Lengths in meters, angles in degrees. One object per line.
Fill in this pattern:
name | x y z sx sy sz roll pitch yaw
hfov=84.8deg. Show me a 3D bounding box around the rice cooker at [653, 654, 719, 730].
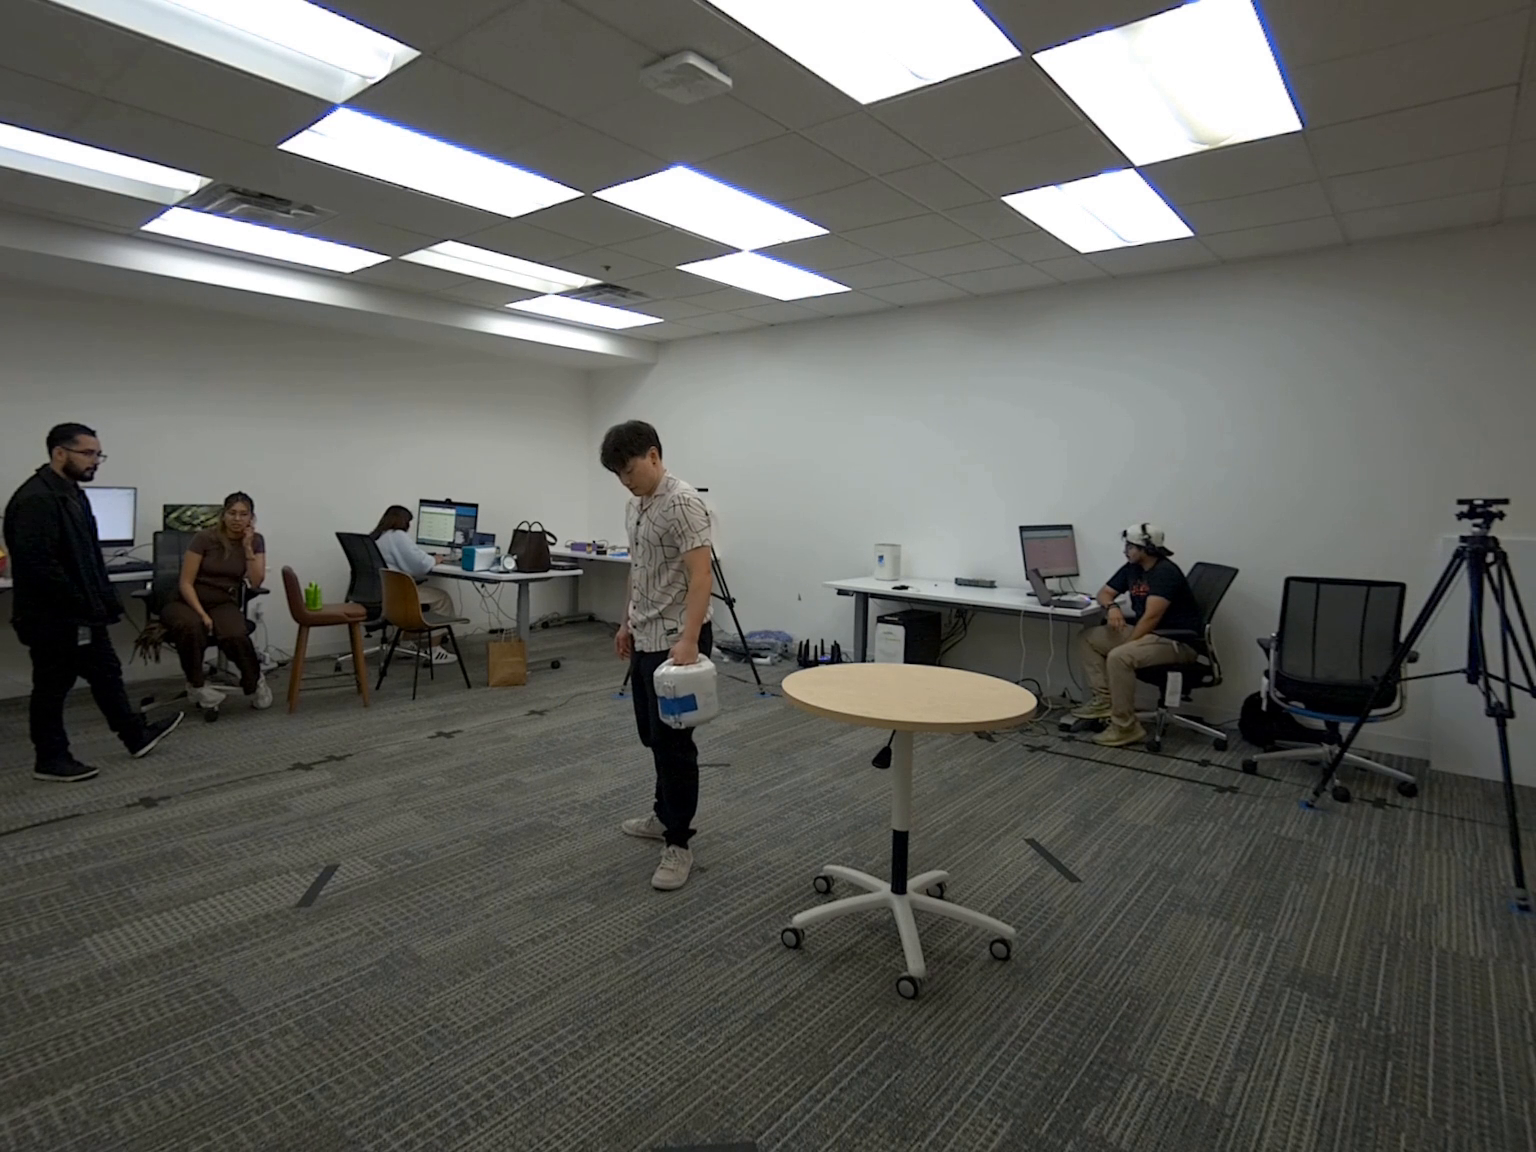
rice cooker | -0.290 0.384 2.929 0.216 0.232 0.222 -7 5 -21
